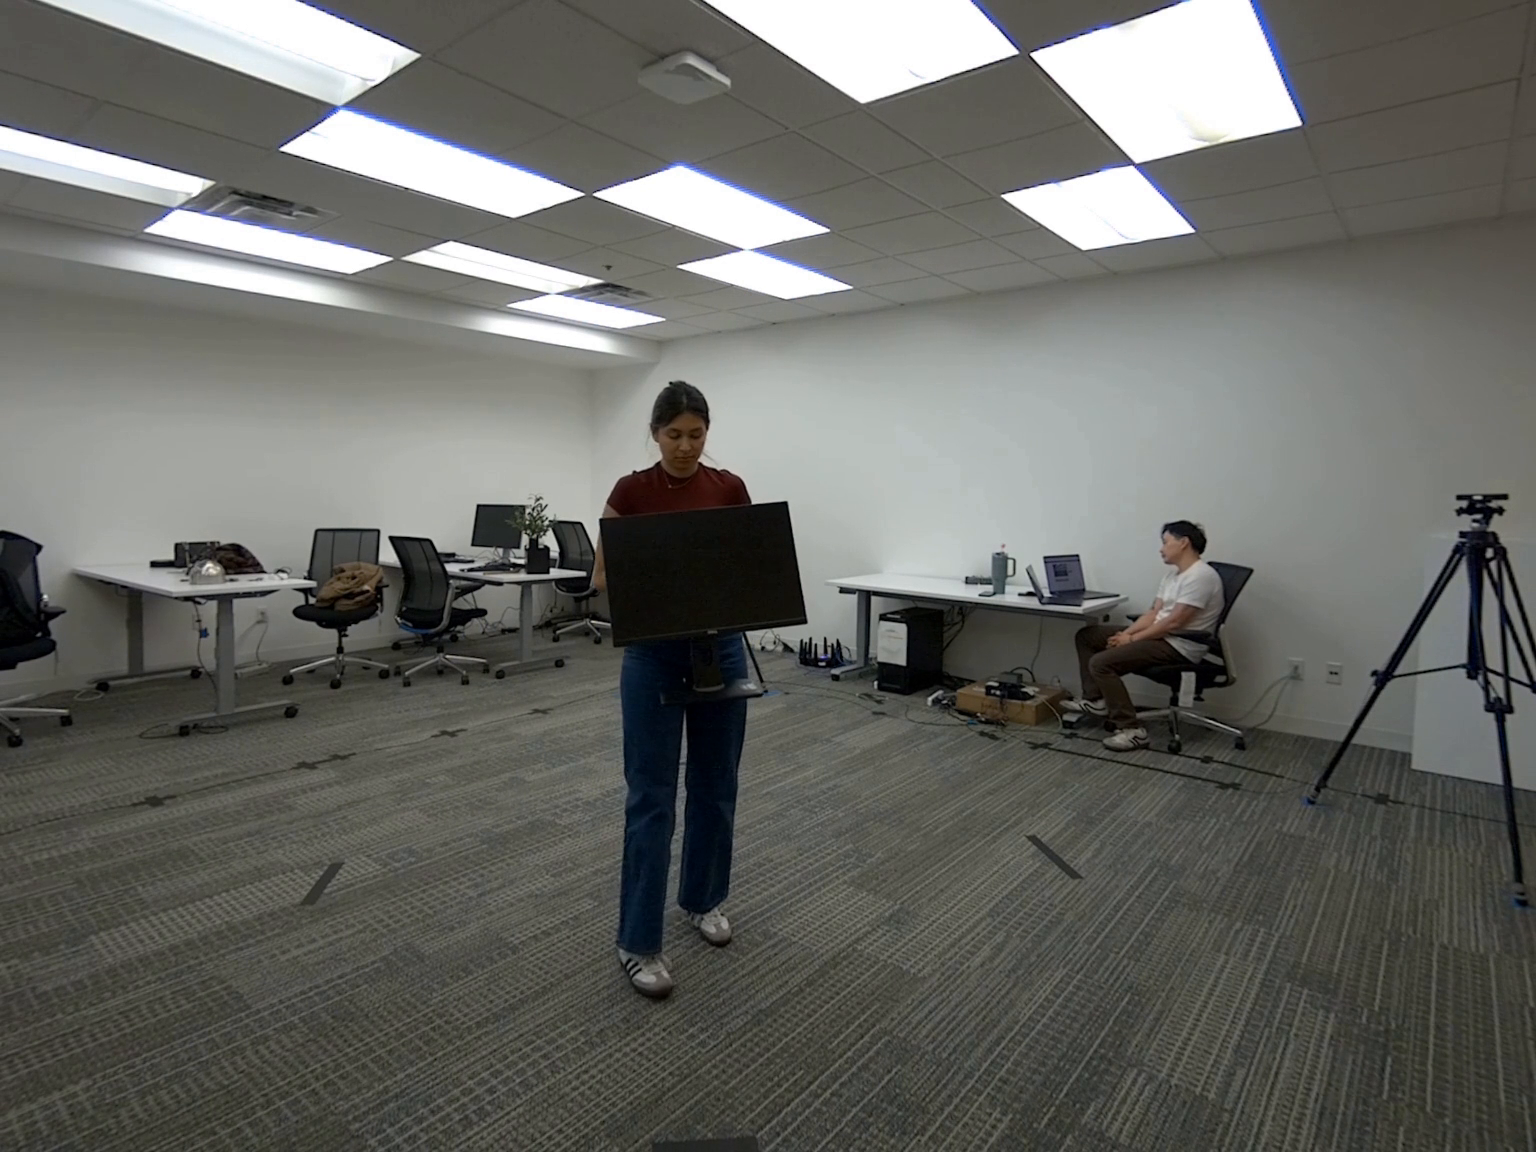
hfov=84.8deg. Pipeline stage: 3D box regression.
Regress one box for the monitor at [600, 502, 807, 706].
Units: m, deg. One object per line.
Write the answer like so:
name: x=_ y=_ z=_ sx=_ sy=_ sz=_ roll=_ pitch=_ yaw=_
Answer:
monitor: x=-0.179 y=0.075 z=2.364 sx=0.532 sy=0.522 sz=0.190 roll=-6 pitch=2 yaw=-14
